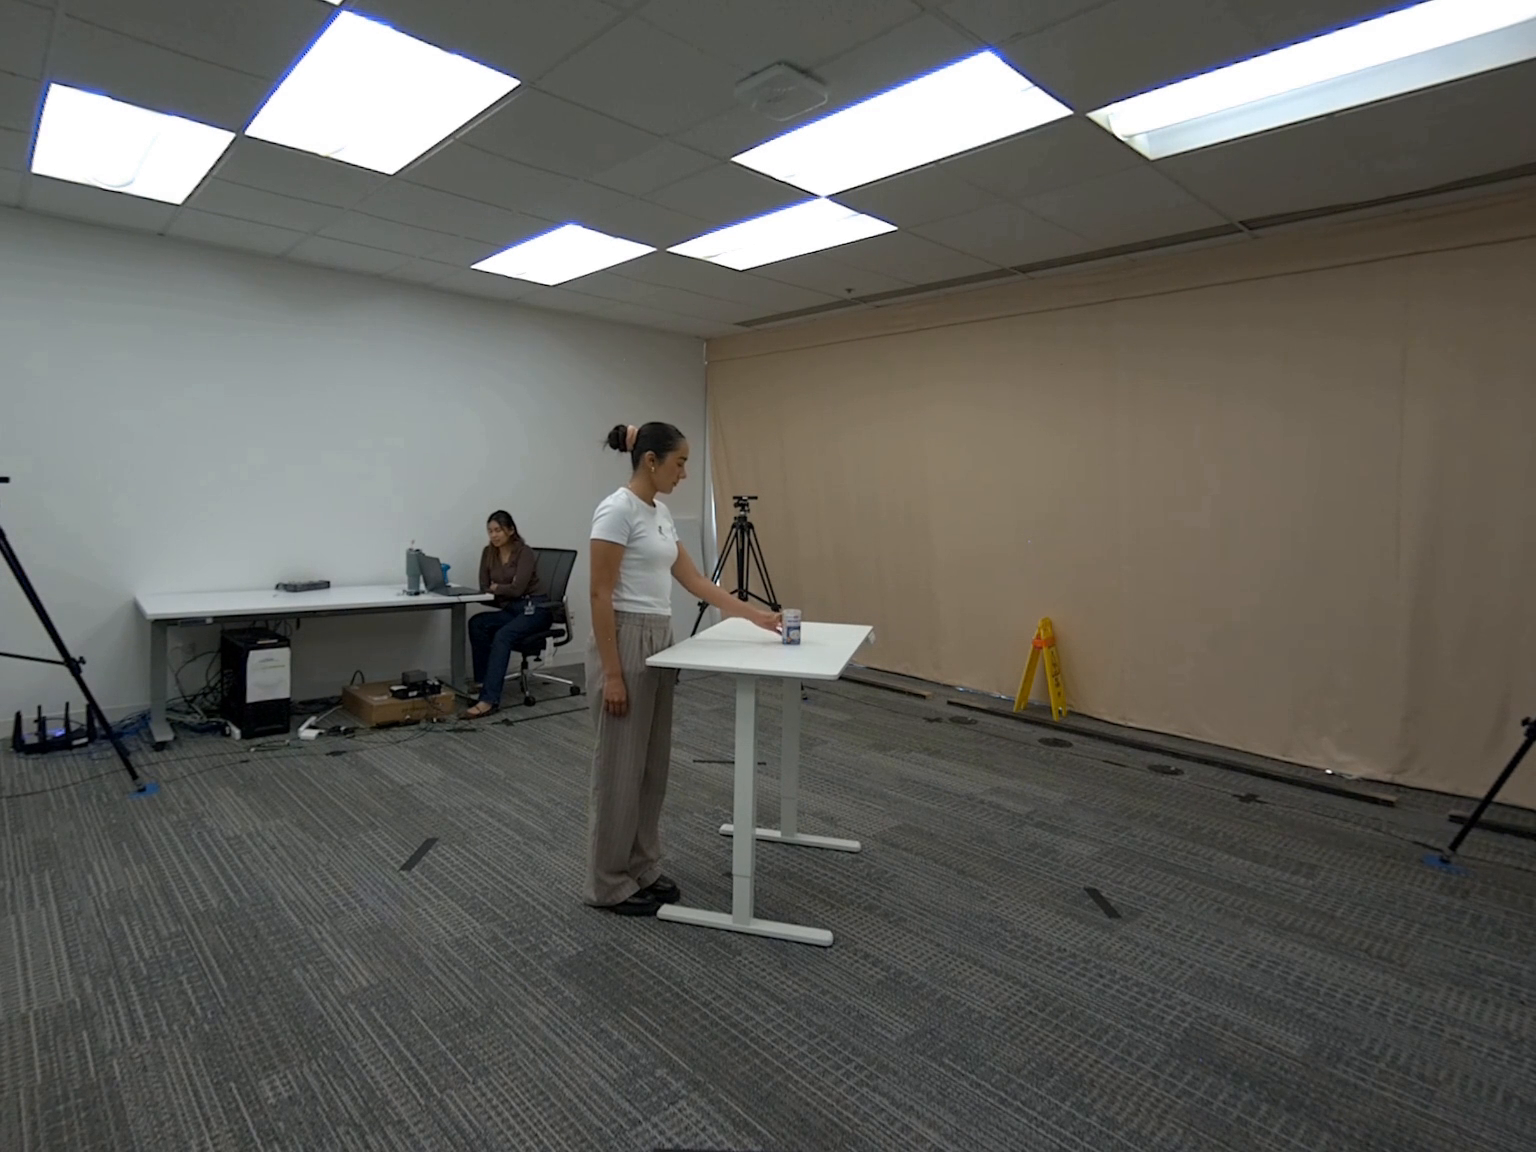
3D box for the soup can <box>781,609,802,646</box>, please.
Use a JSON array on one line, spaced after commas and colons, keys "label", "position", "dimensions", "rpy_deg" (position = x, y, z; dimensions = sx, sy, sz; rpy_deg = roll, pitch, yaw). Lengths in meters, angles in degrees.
[{"label": "soup can", "position": [0.074, 0.180, 2.967], "dimensions": [0.067, 0.121, 0.067], "rpy_deg": [2, 3, -1]}]
